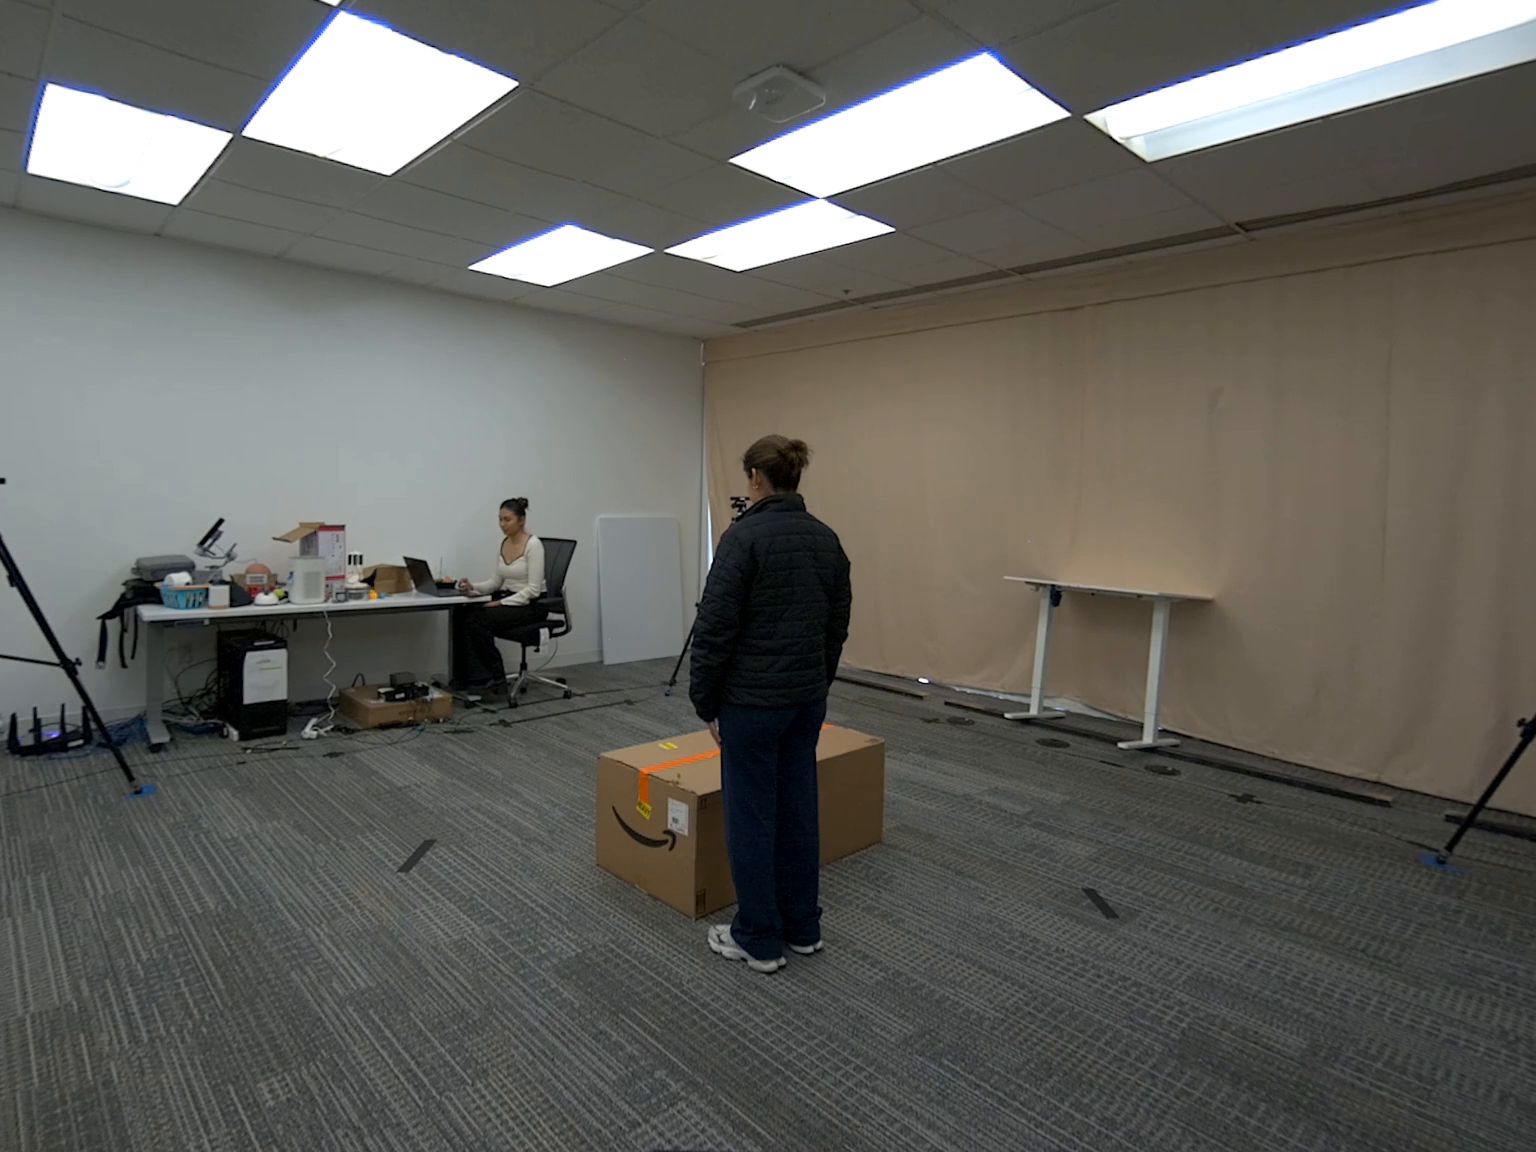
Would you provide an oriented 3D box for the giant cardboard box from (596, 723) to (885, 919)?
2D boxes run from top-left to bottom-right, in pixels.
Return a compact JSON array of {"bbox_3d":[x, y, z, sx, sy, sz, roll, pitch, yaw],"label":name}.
[{"bbox_3d":[-0.091,0.883,3.294,1.003,0.445,0.599,-2,7,-45],"label":"giant cardboard box"}]
